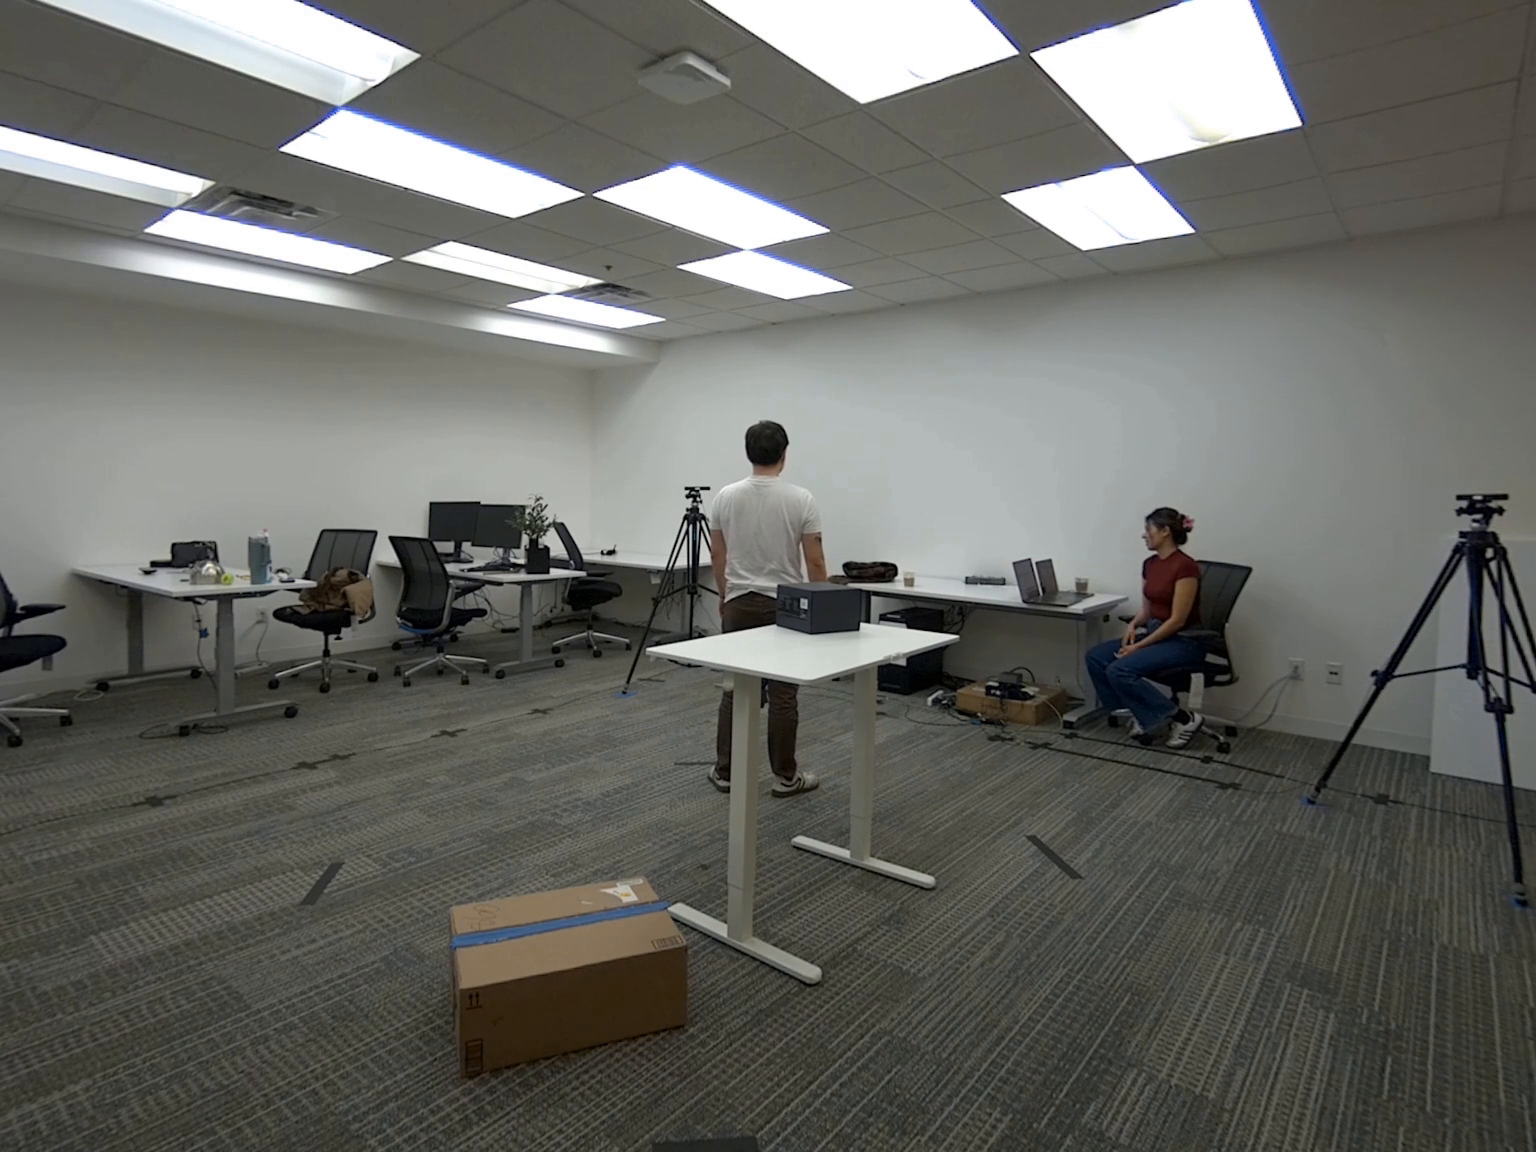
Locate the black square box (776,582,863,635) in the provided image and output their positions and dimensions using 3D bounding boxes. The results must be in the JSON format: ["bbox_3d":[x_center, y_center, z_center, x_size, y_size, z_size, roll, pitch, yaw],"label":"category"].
[{"bbox_3d":[0.174,0.109,3.111,0.221,0.155,0.224,-1,5,-33],"label":"black square box"}]
